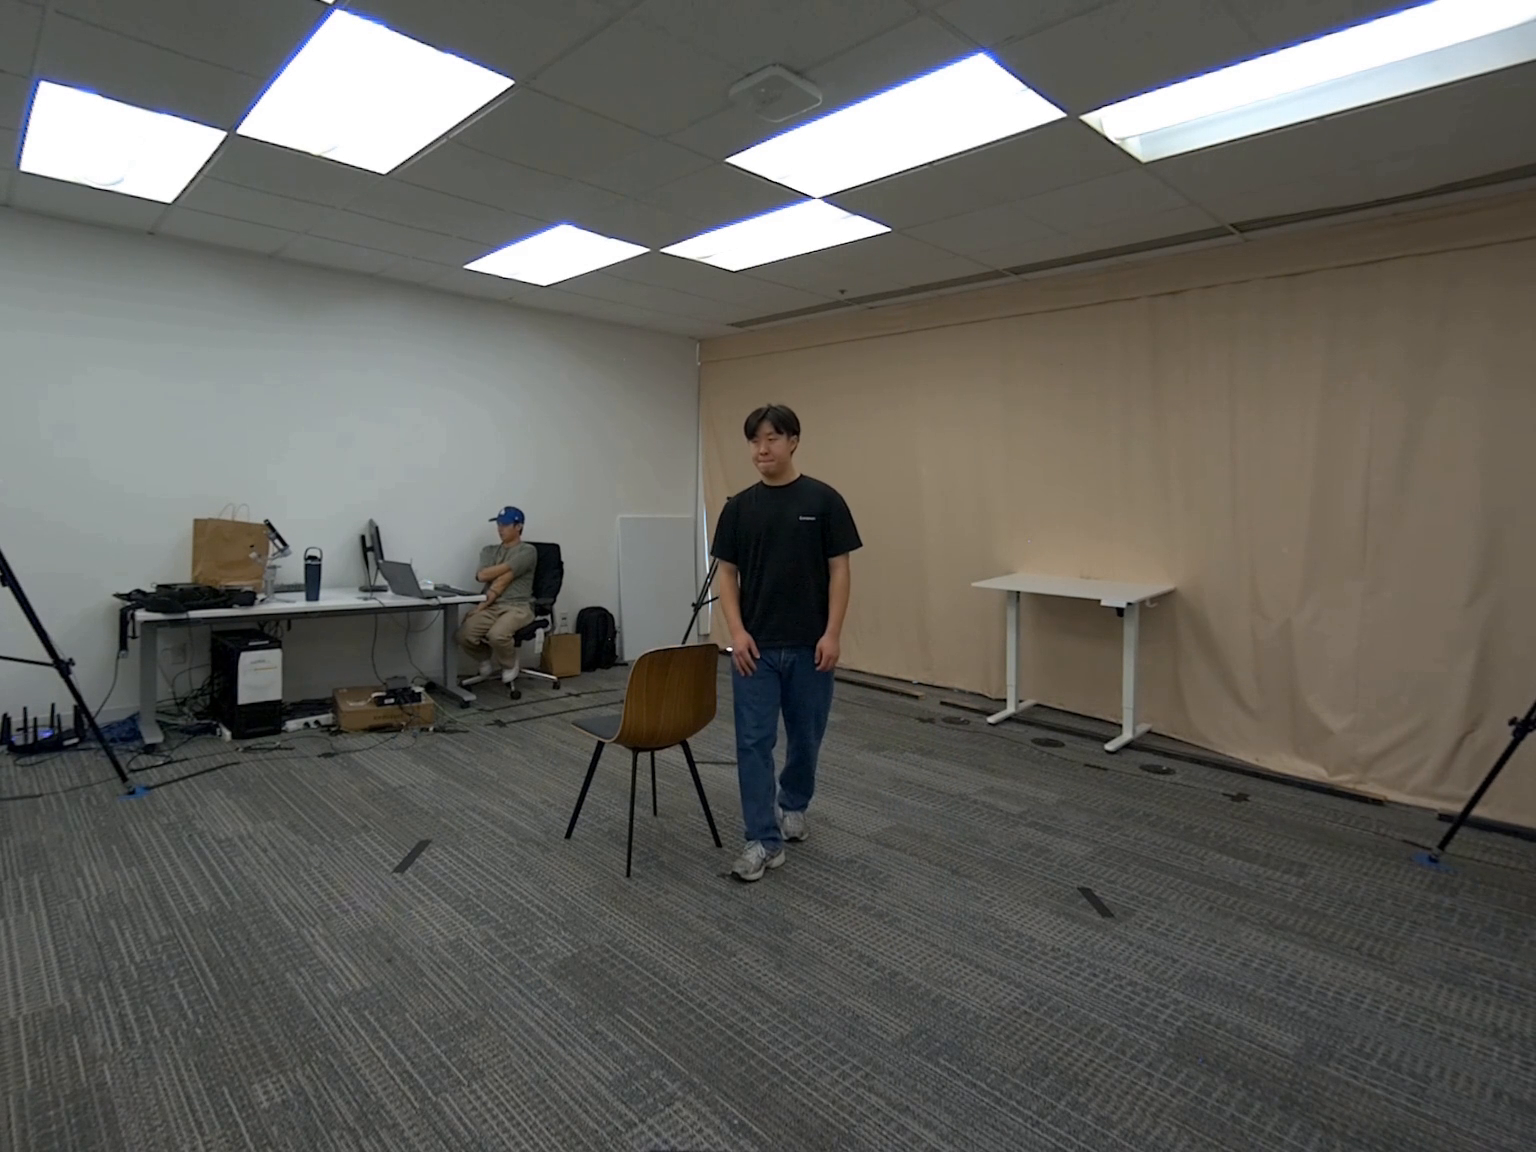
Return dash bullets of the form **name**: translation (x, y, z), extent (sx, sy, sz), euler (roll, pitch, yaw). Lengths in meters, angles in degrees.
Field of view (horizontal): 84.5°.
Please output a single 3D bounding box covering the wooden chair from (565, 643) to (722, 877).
- **wooden chair**: translation (-0.501, 0.649, 3.352), extent (0.467, 0.873, 0.537), euler (-2, 9, -42)
